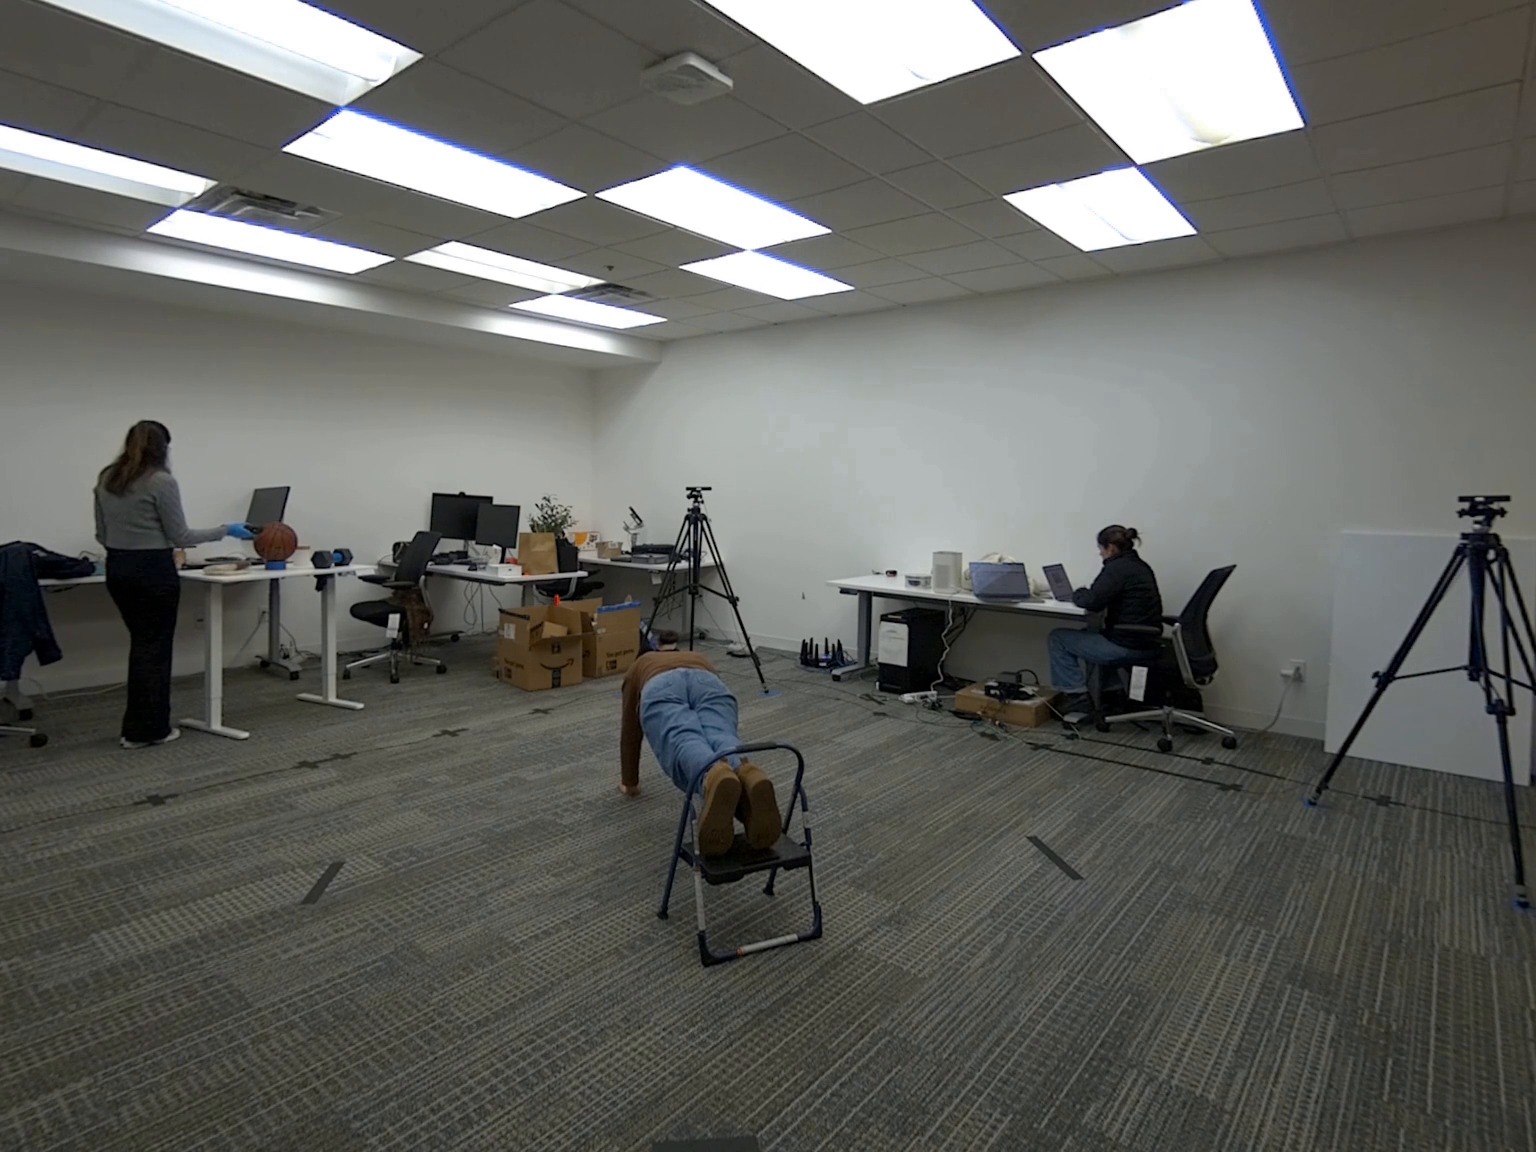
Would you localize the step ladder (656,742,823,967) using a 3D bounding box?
[{"bbox_3d":[-0.093,0.809,2.687,0.419,0.604,0.360,-1,4,-29],"label":"step ladder"}]
